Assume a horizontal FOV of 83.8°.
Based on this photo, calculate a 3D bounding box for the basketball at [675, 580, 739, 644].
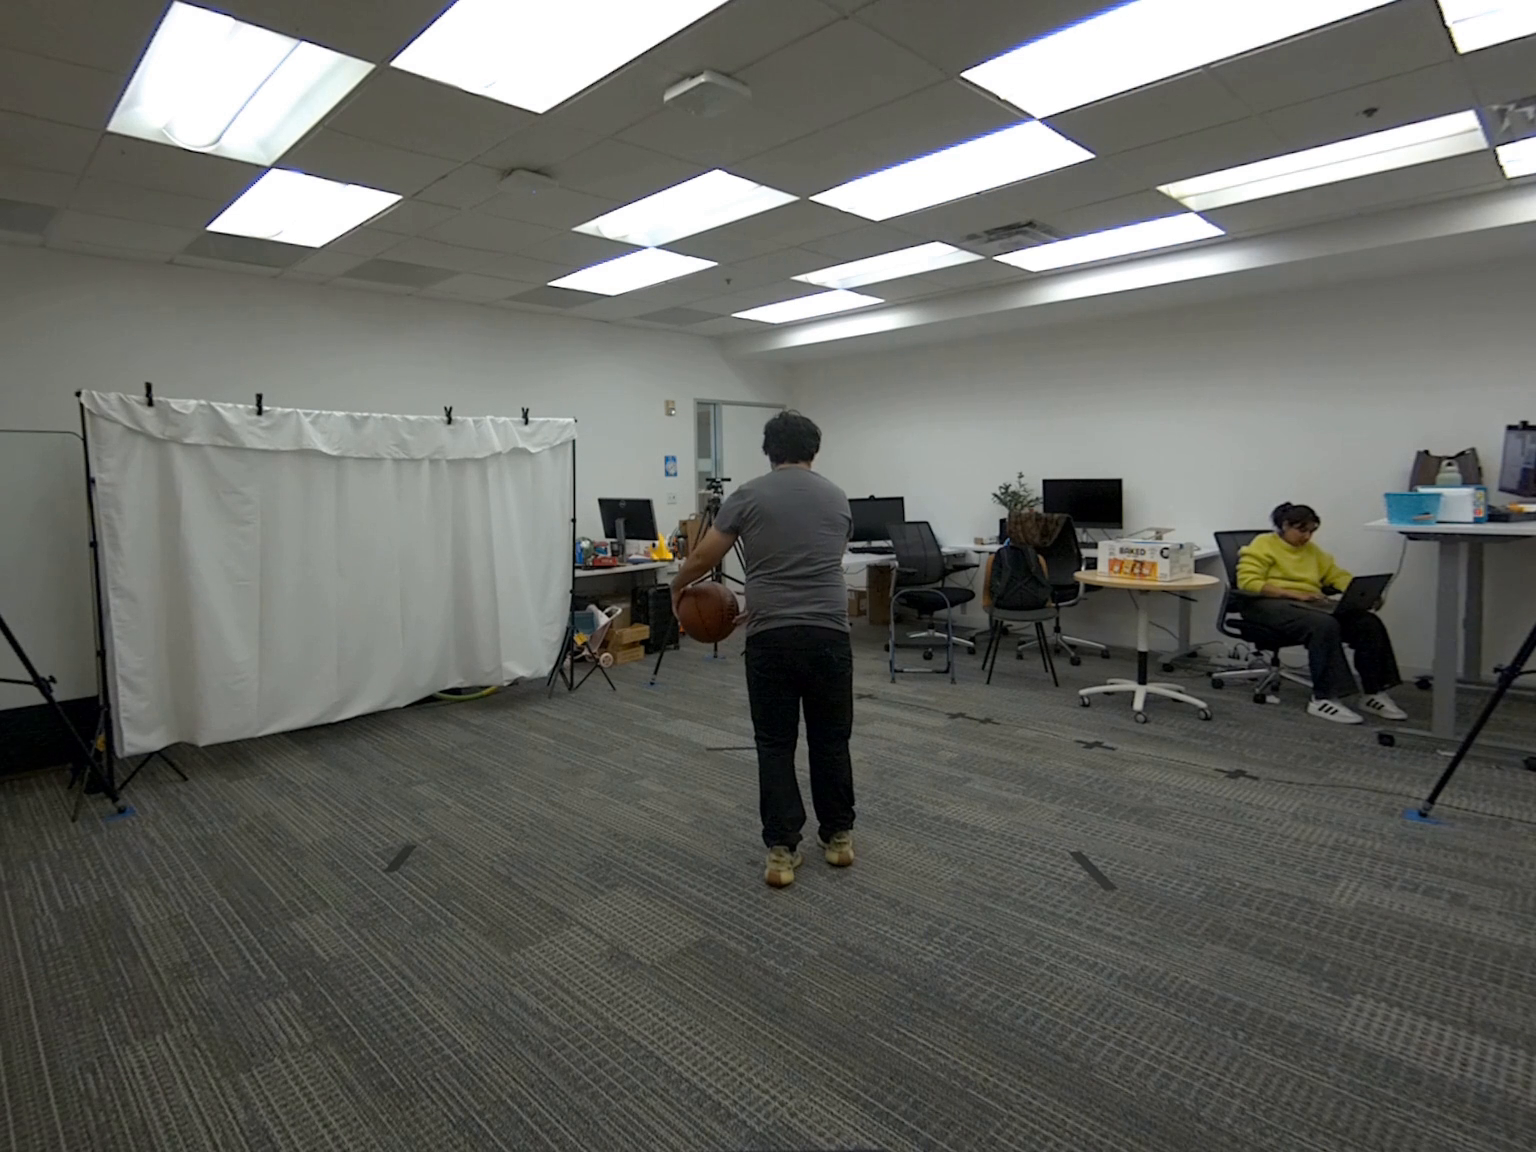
[{"bbox_3d":[-0.222,0.138,3.317,0.236,0.235,0.237,-1,5,-2],"label":"basketball"}]
